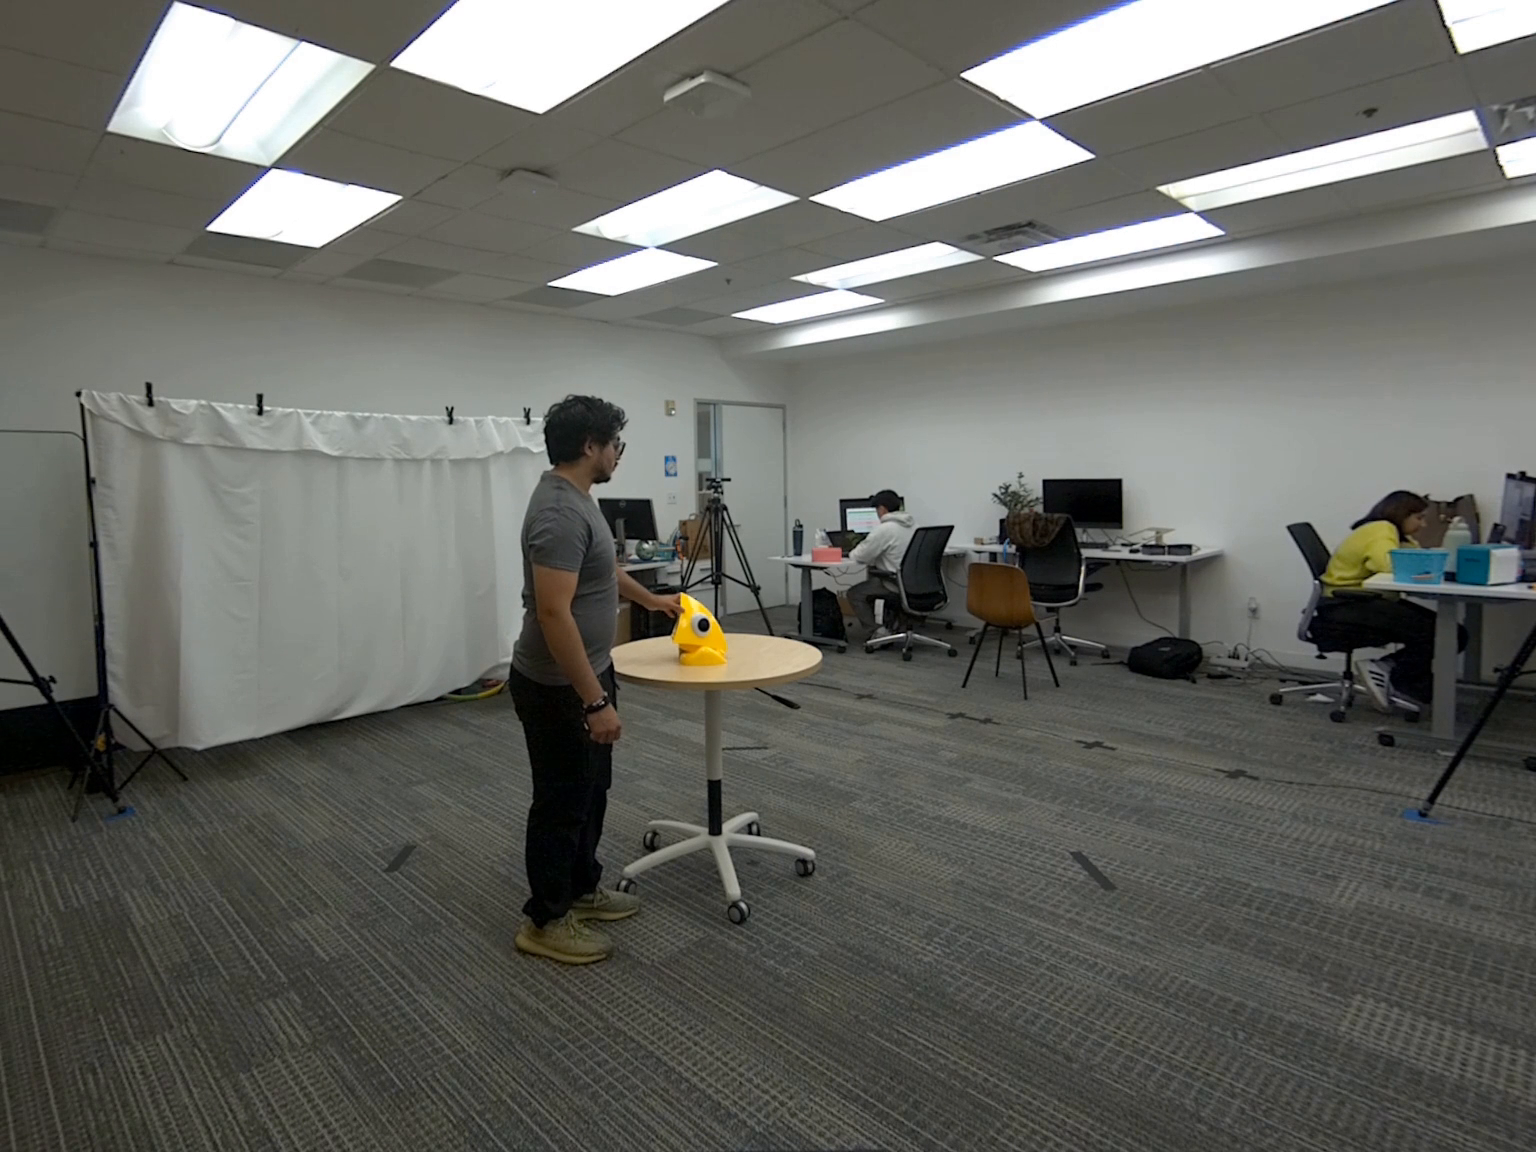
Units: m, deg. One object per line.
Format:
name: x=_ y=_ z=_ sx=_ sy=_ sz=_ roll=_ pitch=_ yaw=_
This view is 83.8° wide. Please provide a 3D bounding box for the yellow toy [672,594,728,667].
yellow toy: x=-0.232 y=0.170 z=2.913 sx=0.192 sy=0.230 sz=0.206 roll=-2 pitch=4 yaw=-5
